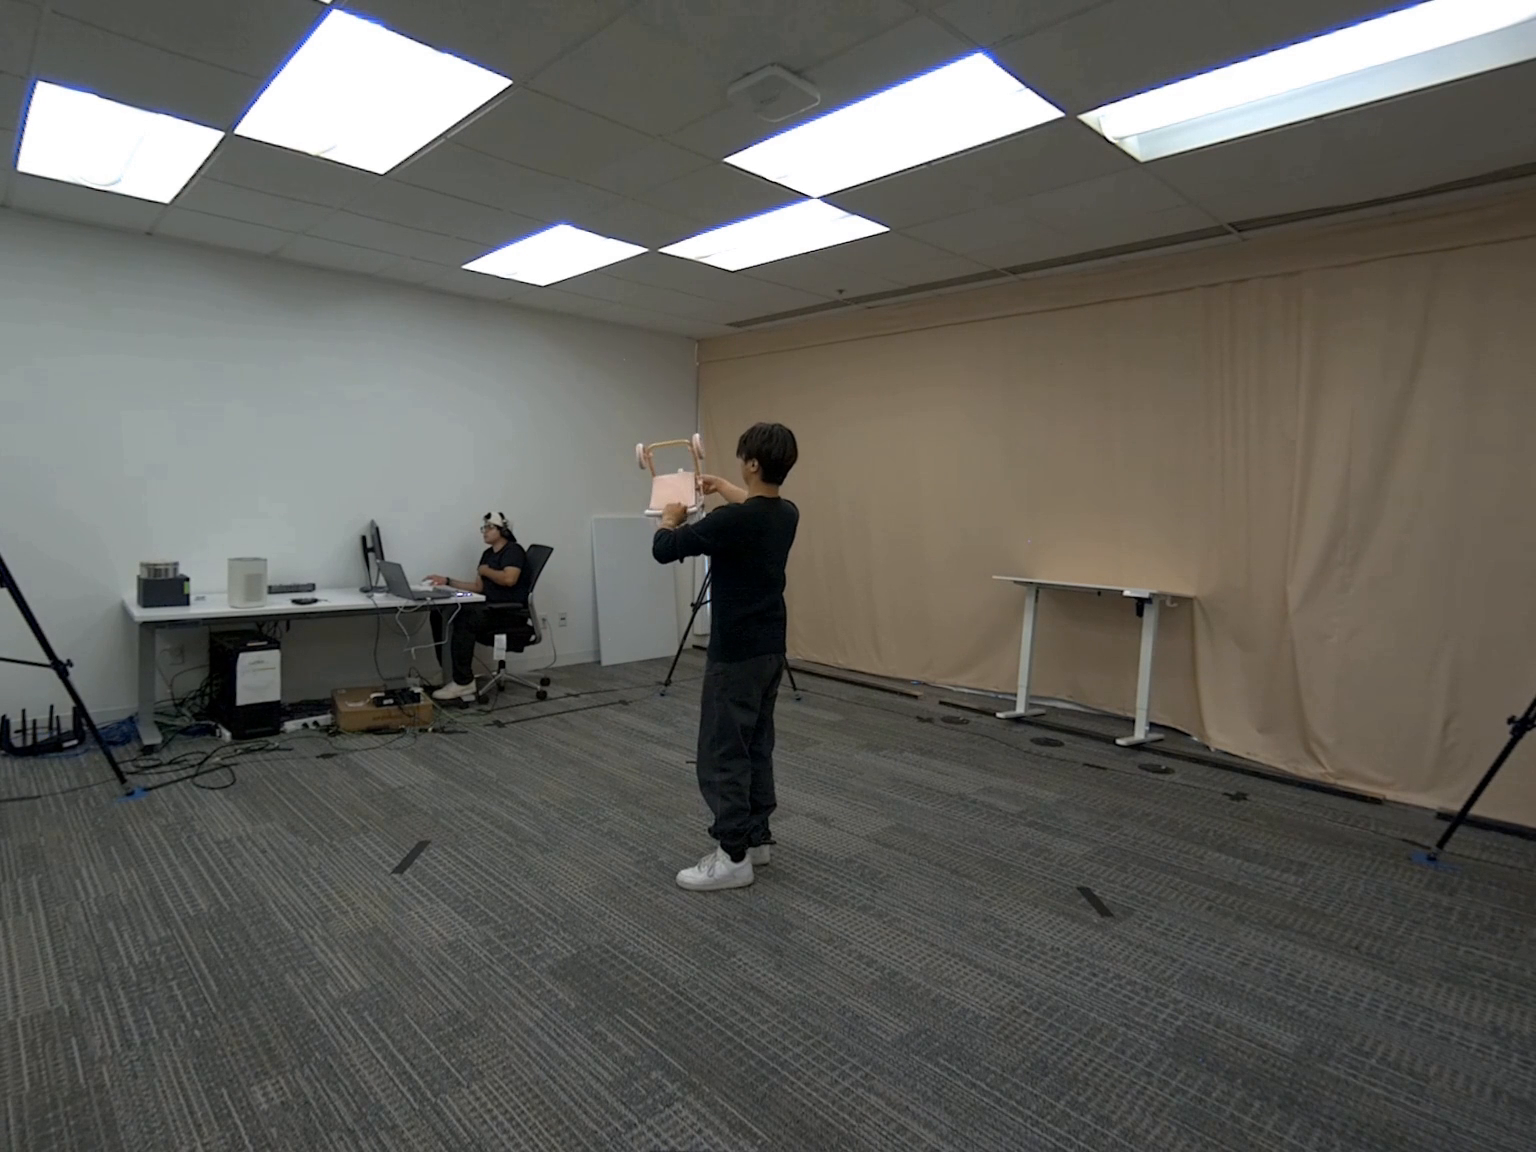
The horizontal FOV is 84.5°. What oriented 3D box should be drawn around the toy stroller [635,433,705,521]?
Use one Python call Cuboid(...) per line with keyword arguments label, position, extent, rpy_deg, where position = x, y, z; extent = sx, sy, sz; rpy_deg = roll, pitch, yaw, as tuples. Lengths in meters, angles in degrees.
Cuboid(label="toy stroller", position=(-0.396, -0.346, 3.525), extent=(0.282, 0.548, 0.333), rpy_deg=(-7, -39, 1))
